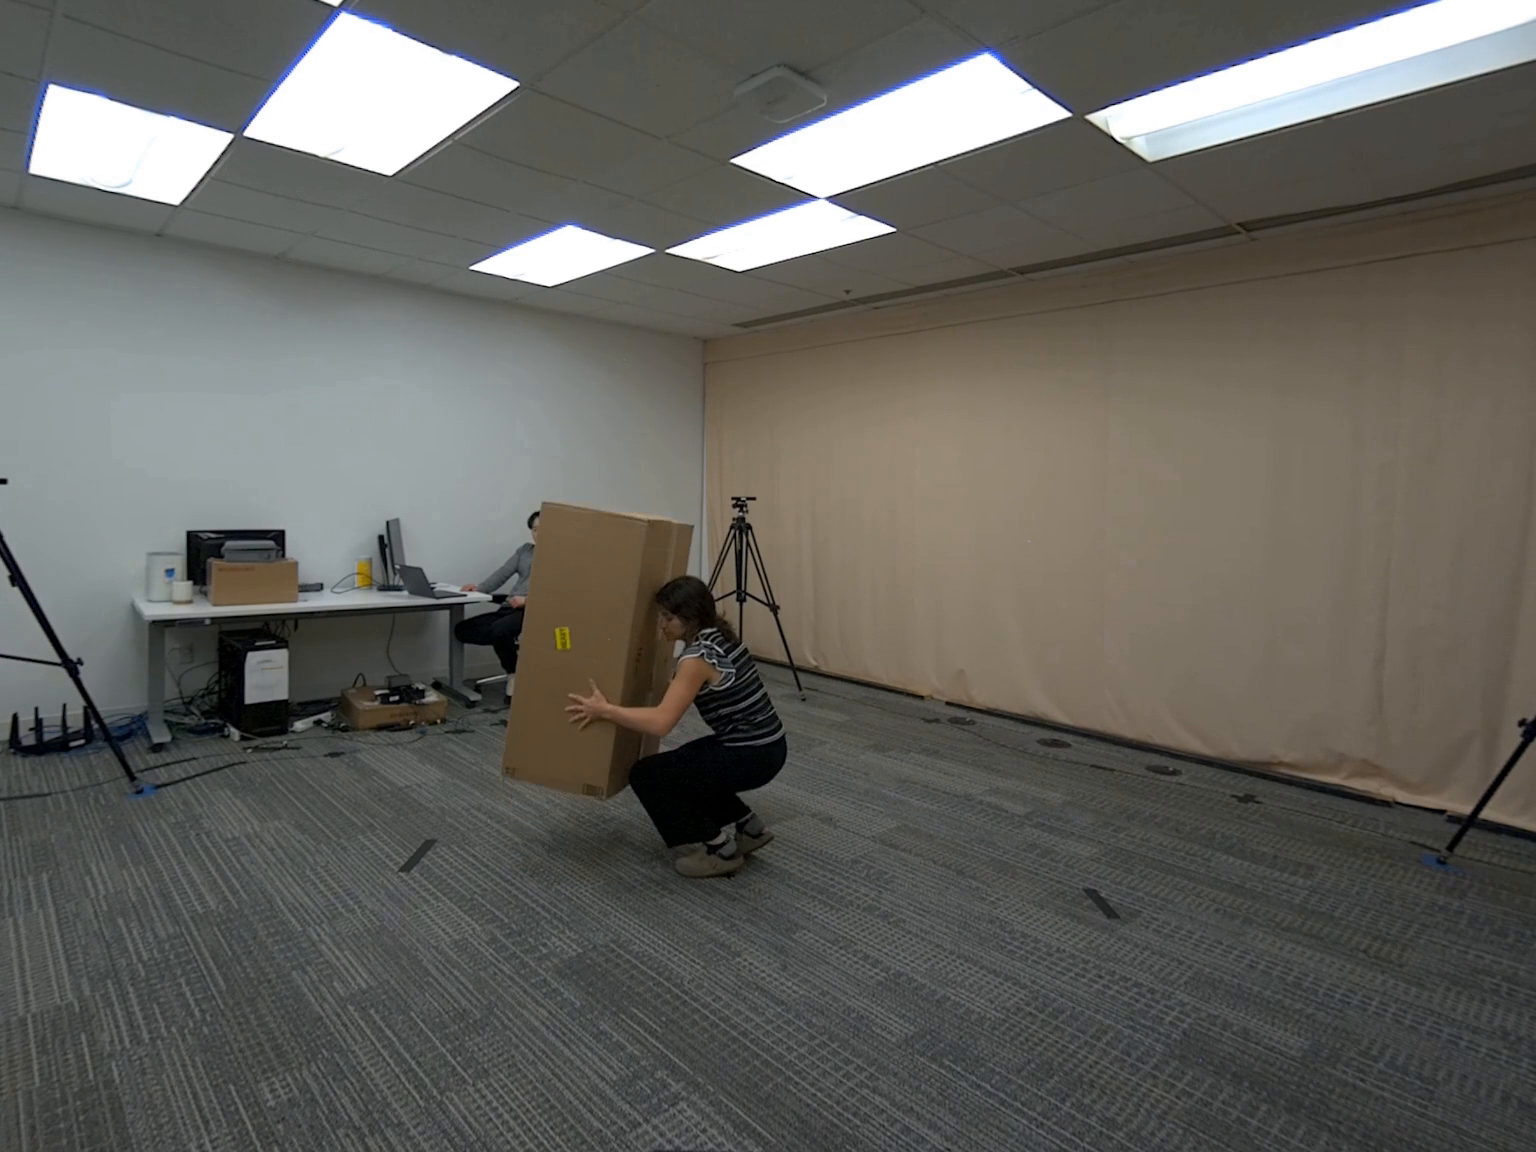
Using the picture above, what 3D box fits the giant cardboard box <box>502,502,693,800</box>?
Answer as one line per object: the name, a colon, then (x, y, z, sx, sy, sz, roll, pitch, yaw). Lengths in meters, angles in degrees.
giant cardboard box: (-0.645, 0.252, 3.298, 0.432, 1.025, 0.570, 10, 2, 14)
